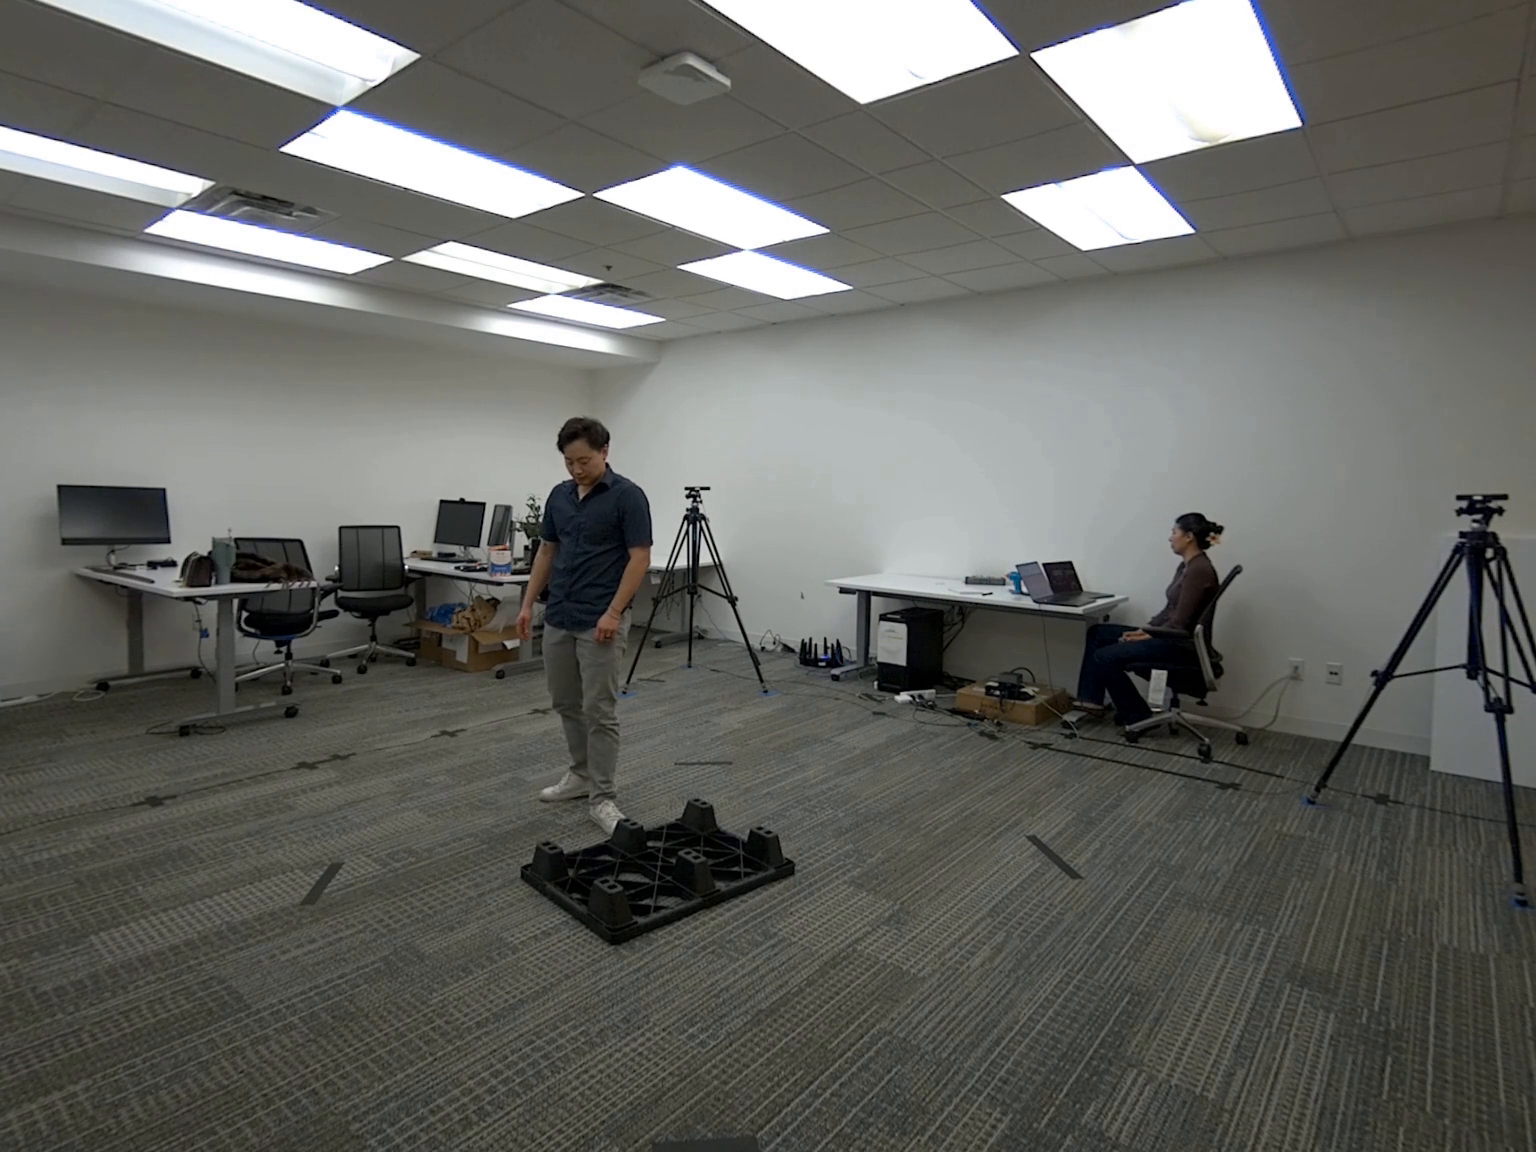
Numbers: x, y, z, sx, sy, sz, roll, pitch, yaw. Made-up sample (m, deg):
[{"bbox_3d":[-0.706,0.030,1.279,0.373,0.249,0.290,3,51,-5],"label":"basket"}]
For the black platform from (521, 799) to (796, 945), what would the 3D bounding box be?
[{"bbox_3d":[-0.398,1.003,3.047,0.781,0.143,0.626,-4,8,-43],"label":"black platform"}]
